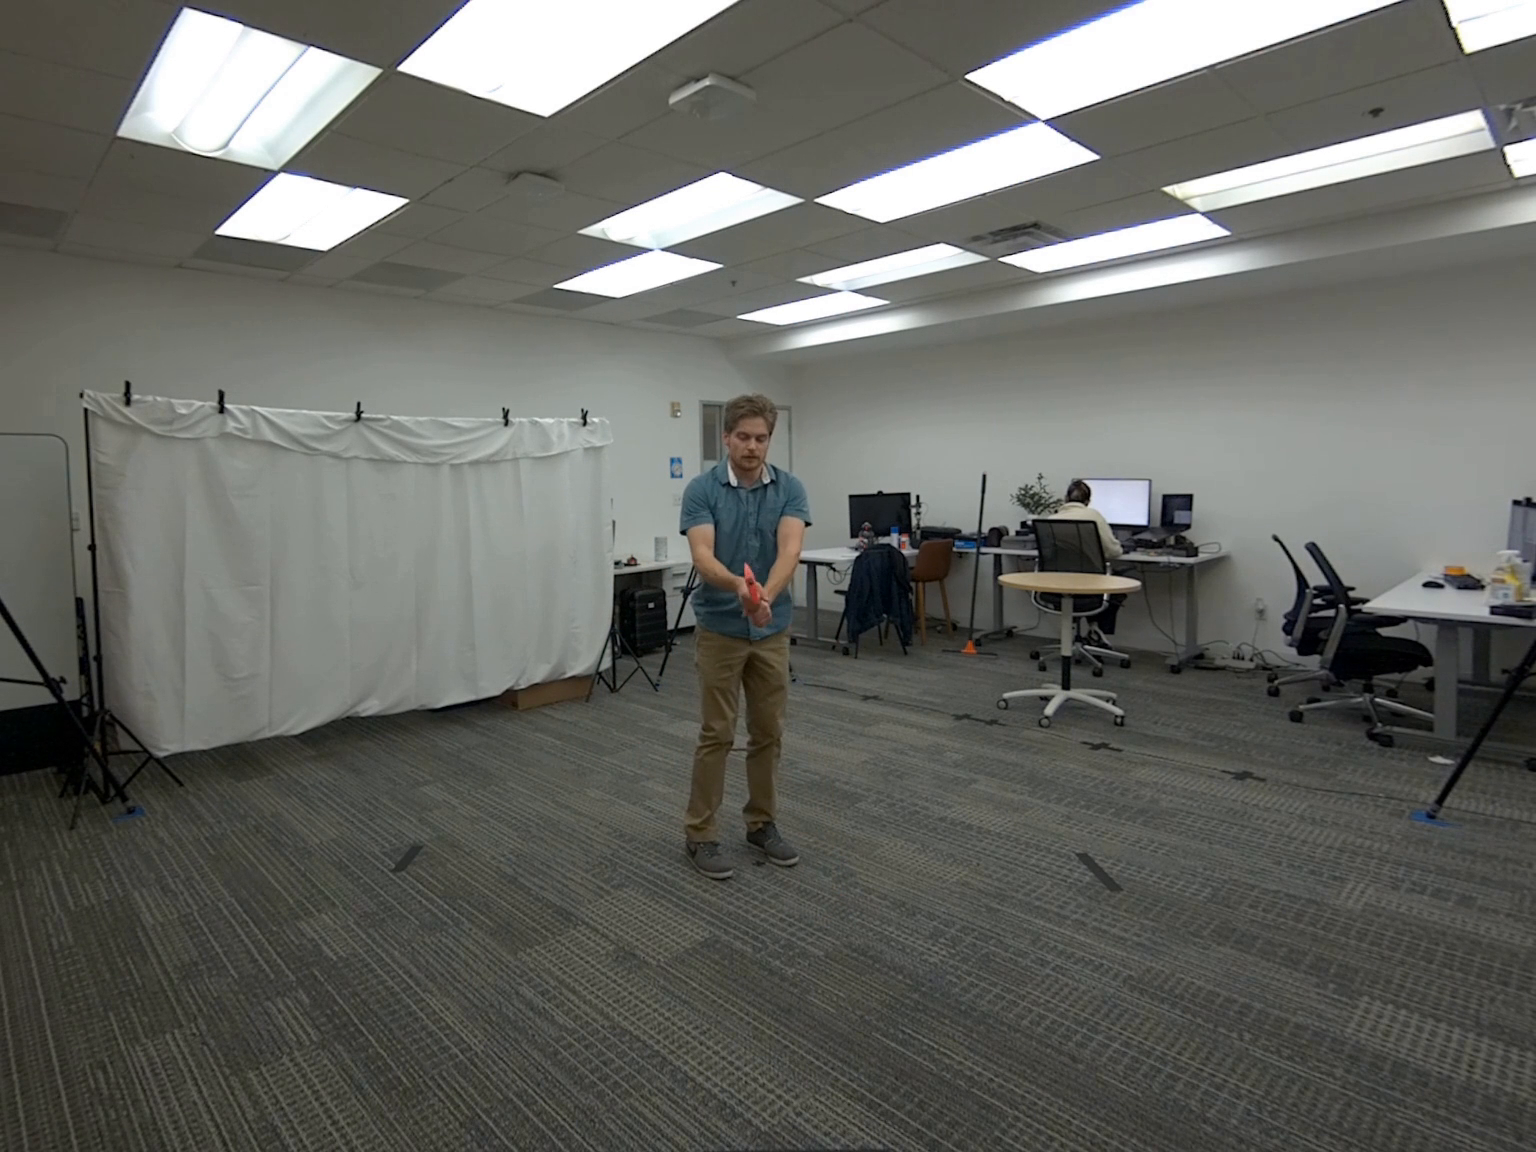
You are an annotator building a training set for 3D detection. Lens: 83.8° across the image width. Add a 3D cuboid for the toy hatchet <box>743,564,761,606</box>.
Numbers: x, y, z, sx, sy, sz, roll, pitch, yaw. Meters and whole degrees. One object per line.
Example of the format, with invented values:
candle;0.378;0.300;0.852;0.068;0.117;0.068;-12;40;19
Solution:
toy hatchet;-0.038;0.053;2.654;0.029;0.135;0.261;-16;-39;-1
